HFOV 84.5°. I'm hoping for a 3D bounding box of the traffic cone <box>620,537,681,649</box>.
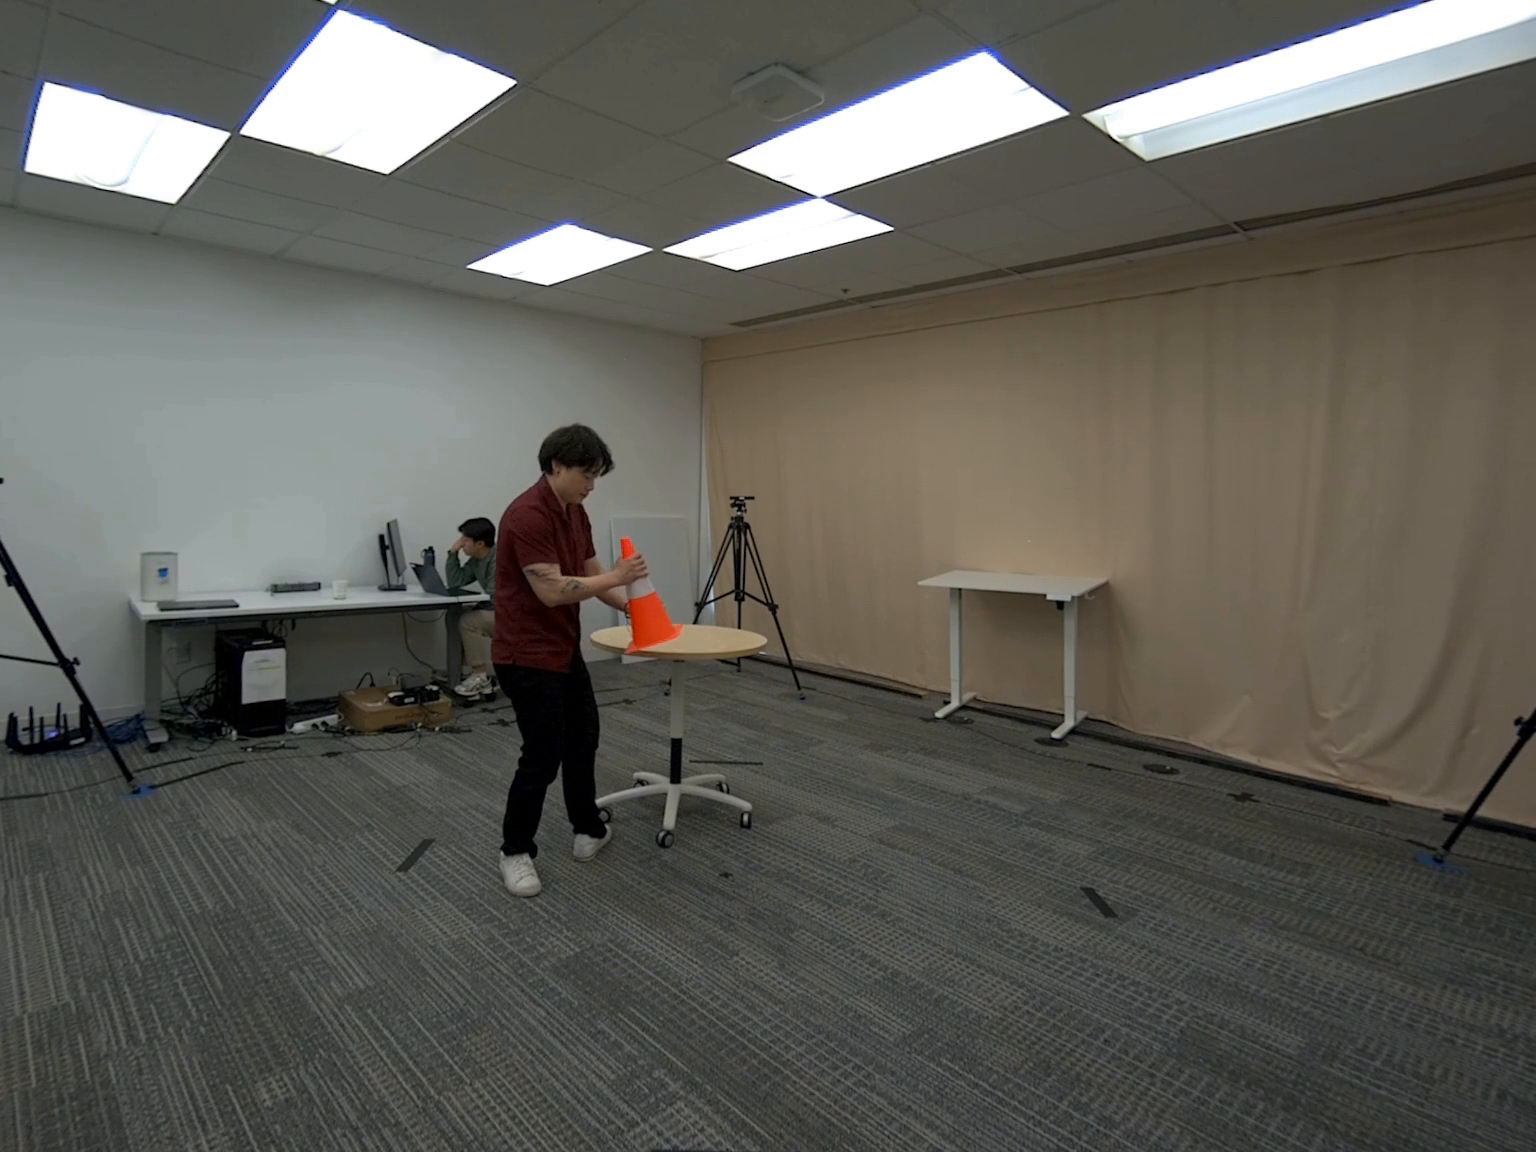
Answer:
[{"bbox_3d":[-0.472,0.043,3.001,0.203,0.381,0.207,-14,7,-6],"label":"traffic cone"}]
